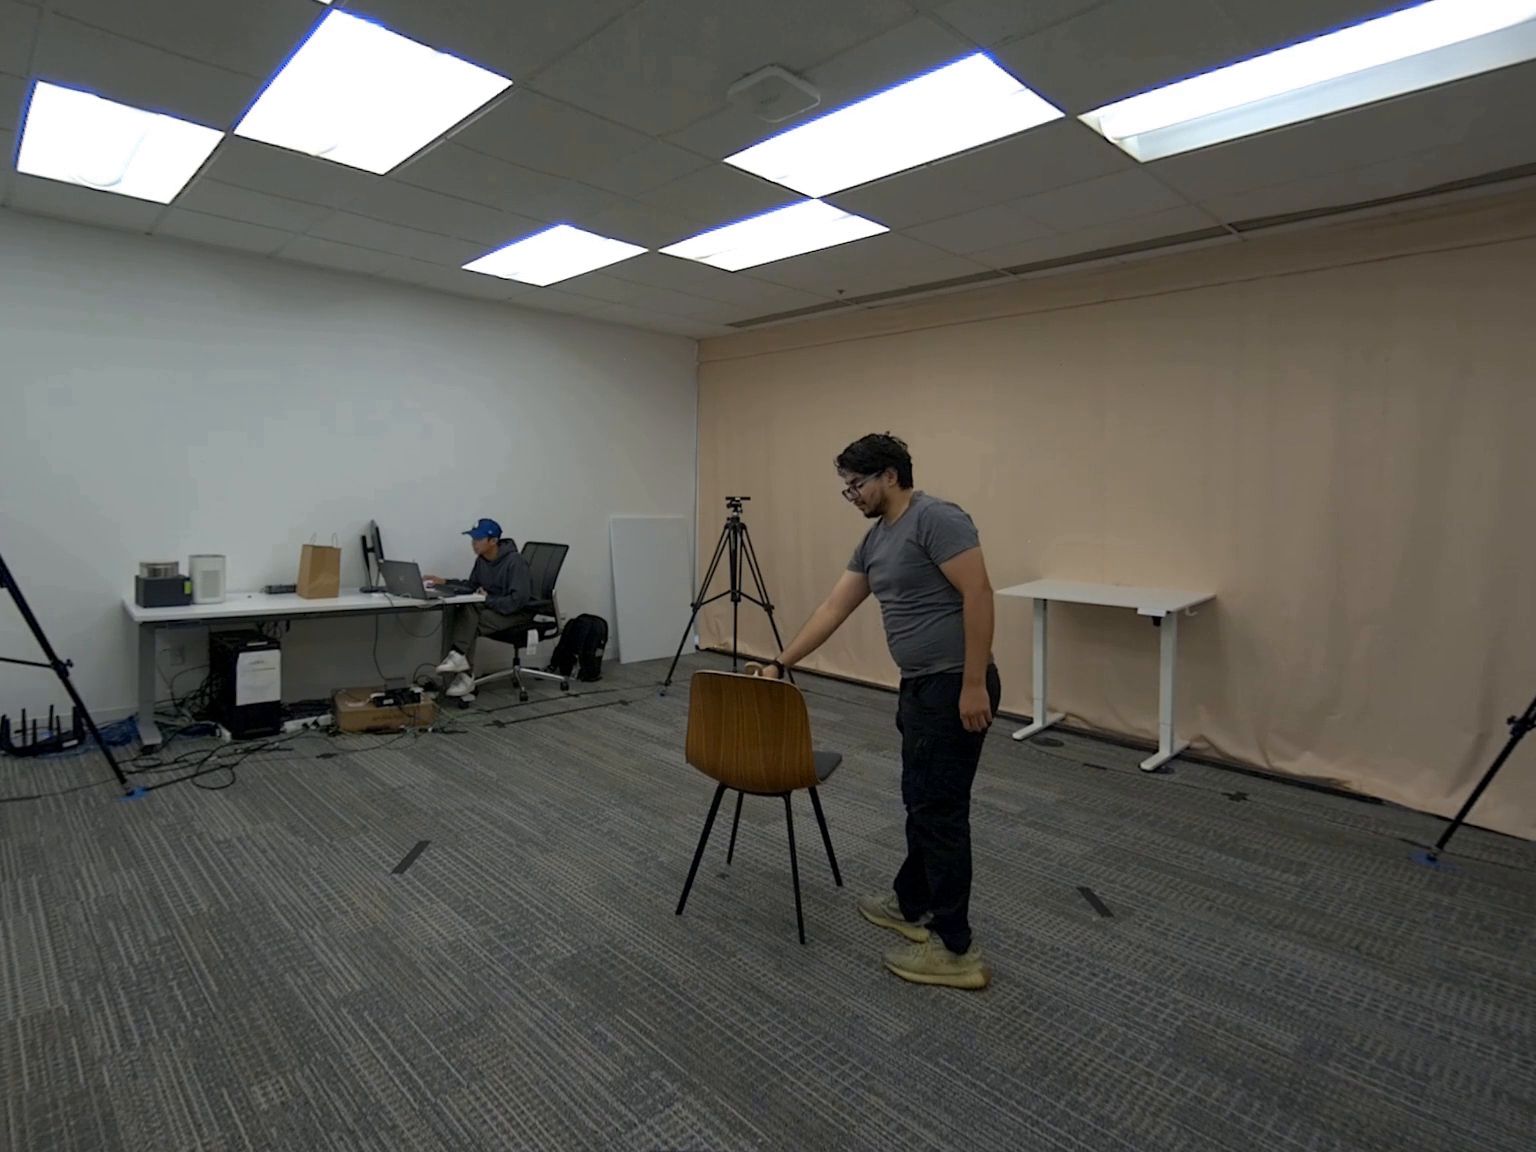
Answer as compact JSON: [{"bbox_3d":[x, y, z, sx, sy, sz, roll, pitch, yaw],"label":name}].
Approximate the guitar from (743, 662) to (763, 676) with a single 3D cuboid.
[{"bbox_3d":[-0.064,0.460,2.783,0.195,0.485,0.071,4,46,16],"label":"guitar"}]
